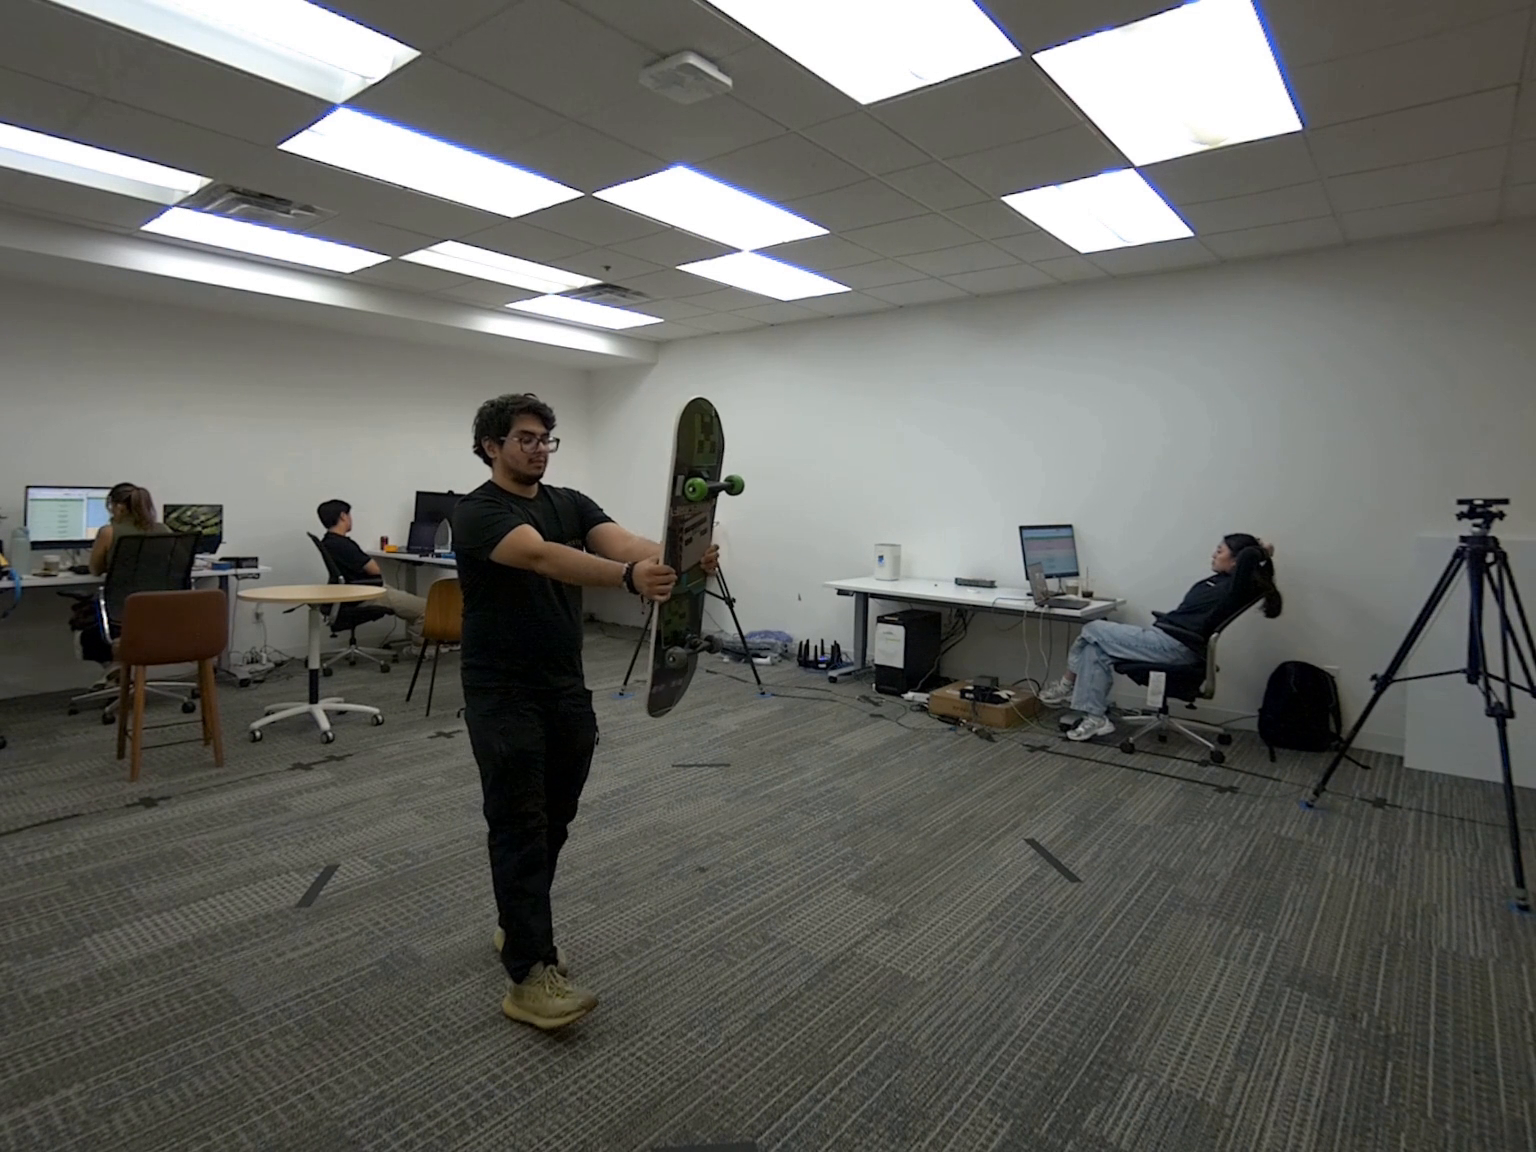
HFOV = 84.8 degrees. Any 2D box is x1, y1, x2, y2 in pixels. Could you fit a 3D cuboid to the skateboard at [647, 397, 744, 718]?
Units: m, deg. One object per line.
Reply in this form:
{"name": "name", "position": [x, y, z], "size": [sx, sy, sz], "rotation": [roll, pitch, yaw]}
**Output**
{"name": "skateboard", "position": [-0.179, -0.021, 2.003], "size": [0.114, 0.778, 0.188], "rotation": [15, 13, 30]}
